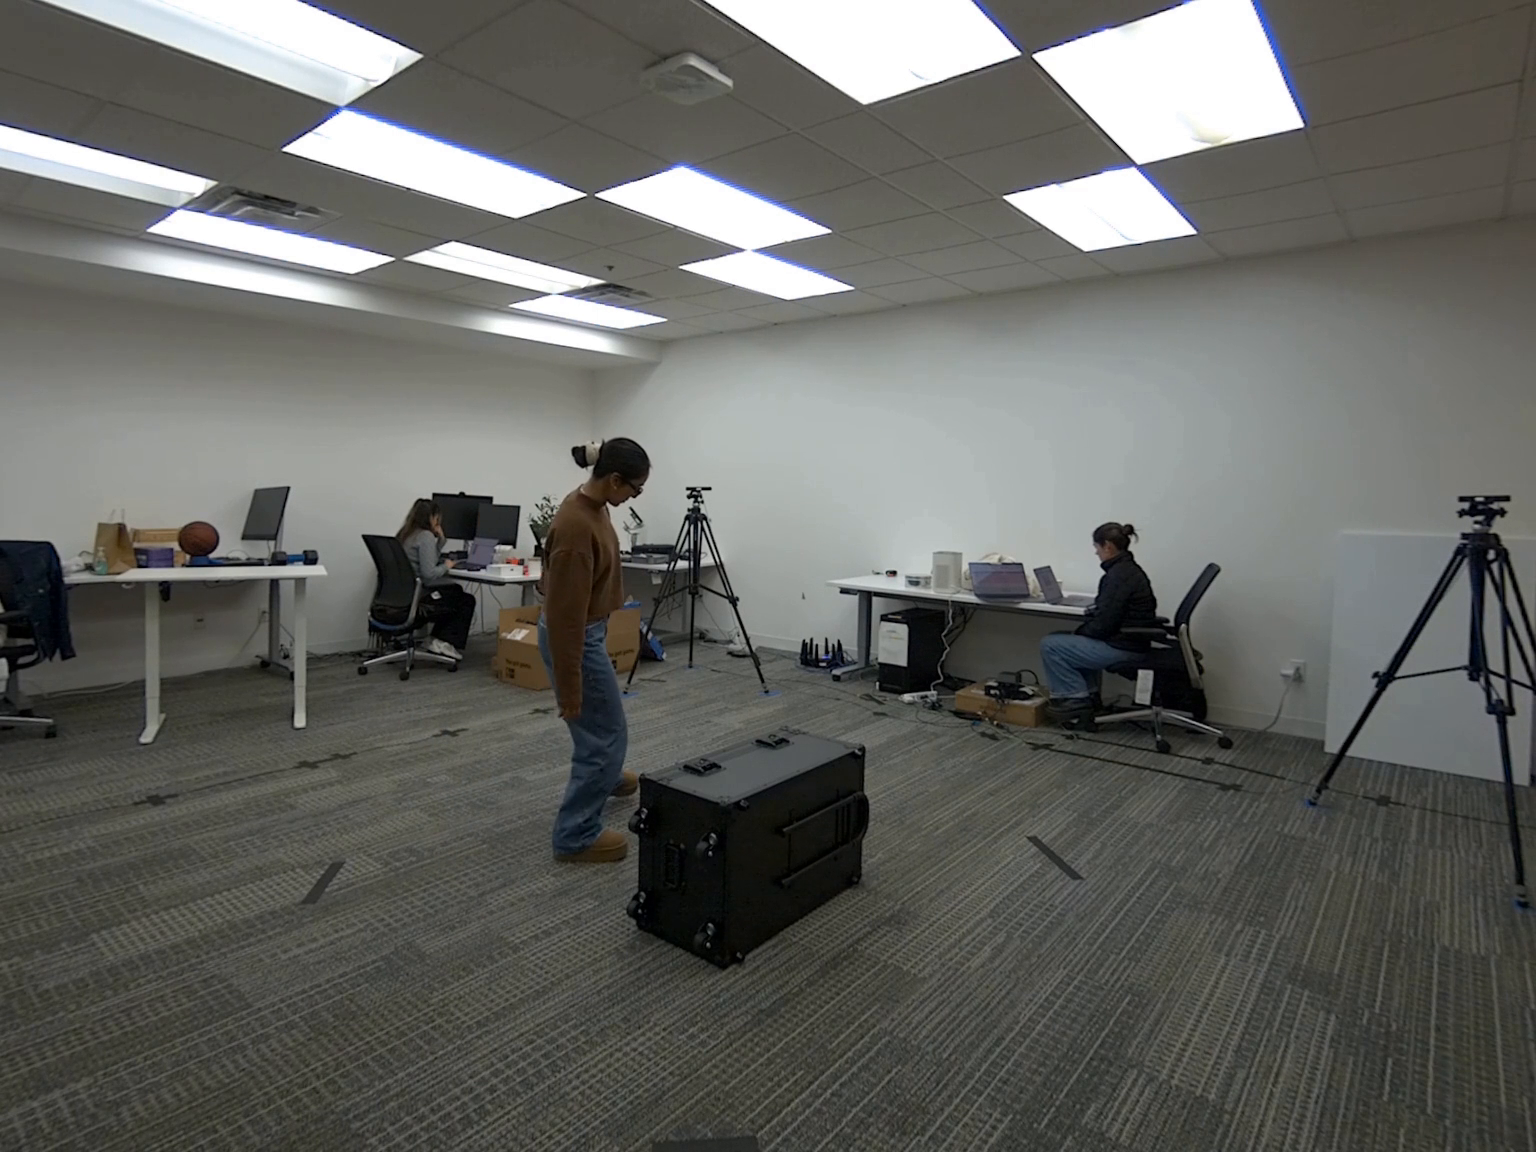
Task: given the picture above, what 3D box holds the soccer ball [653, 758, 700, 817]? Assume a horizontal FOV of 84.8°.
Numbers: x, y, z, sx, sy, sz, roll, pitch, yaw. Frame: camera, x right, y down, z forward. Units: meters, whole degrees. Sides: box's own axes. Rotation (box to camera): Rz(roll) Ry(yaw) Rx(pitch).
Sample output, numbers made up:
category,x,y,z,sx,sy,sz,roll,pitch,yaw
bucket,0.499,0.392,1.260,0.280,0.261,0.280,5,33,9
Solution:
category,x,y,z,sx,sy,sz,roll,pitch,yaw
soccer ball,-0.394,0.909,3.632,0.187,0.187,0.188,1,4,-2
